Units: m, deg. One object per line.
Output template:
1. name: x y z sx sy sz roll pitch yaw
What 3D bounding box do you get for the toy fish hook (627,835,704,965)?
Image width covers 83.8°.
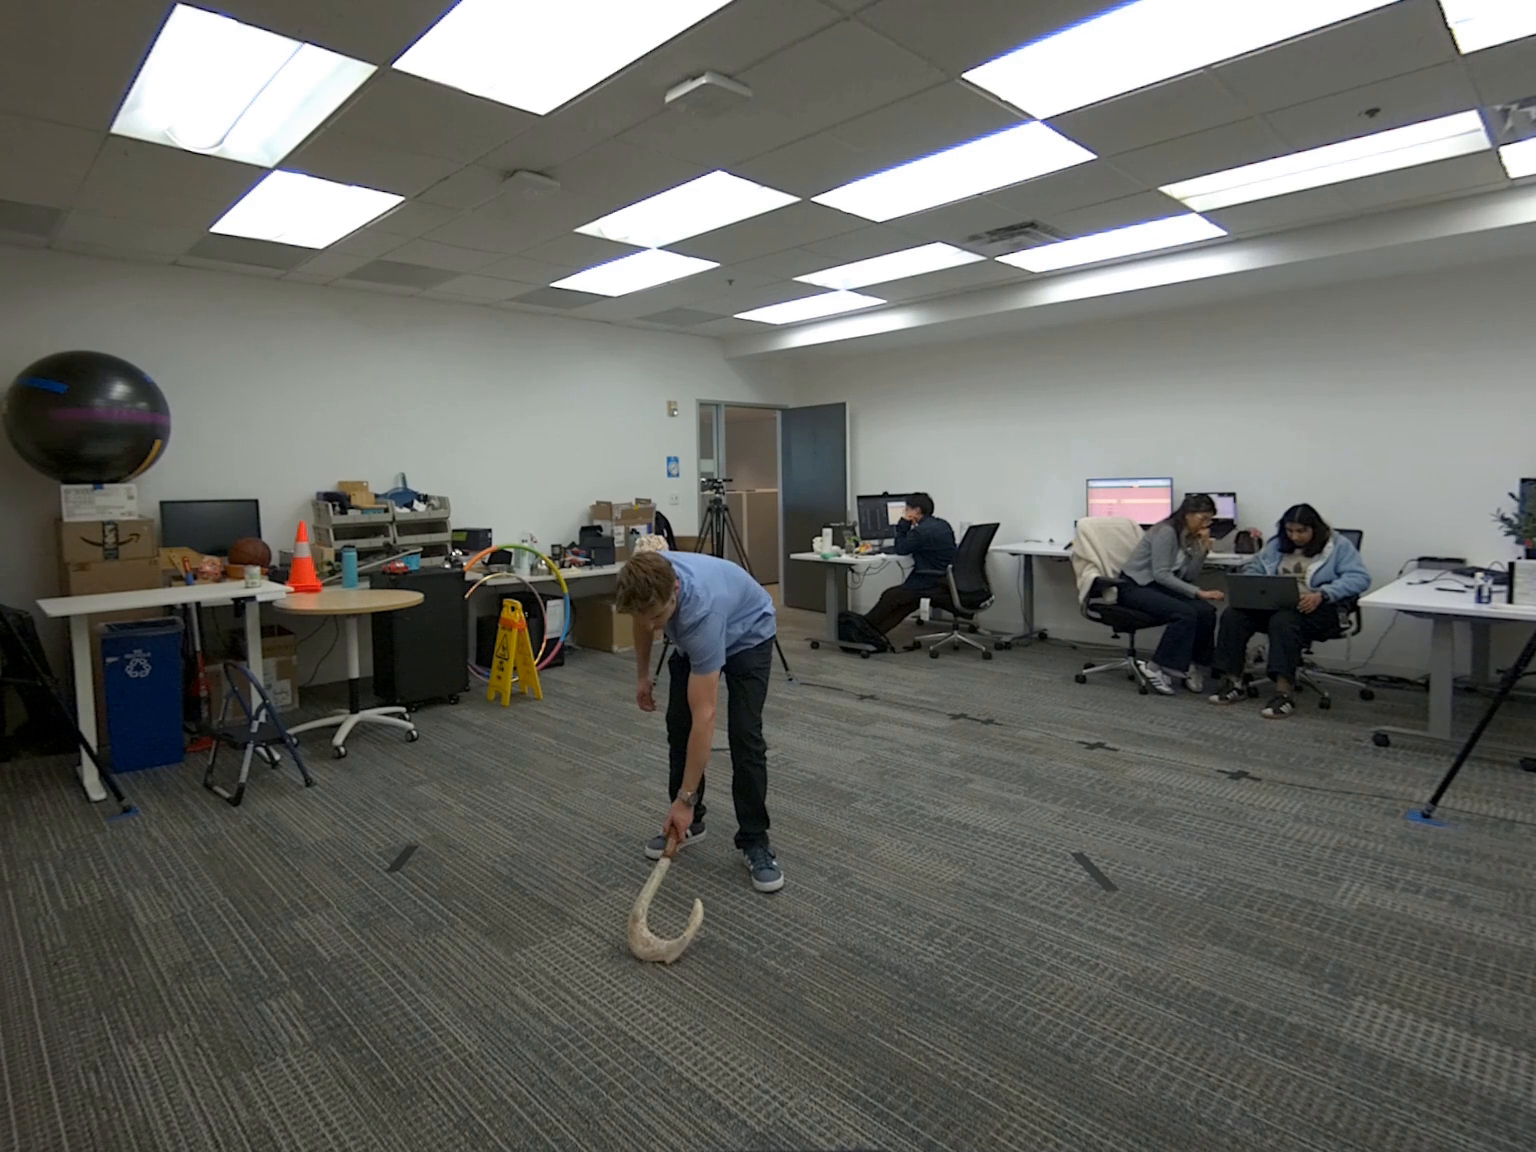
1. toy fish hook: -0.277 0.942 2.656 0.227 0.047 0.517 0 45 11
